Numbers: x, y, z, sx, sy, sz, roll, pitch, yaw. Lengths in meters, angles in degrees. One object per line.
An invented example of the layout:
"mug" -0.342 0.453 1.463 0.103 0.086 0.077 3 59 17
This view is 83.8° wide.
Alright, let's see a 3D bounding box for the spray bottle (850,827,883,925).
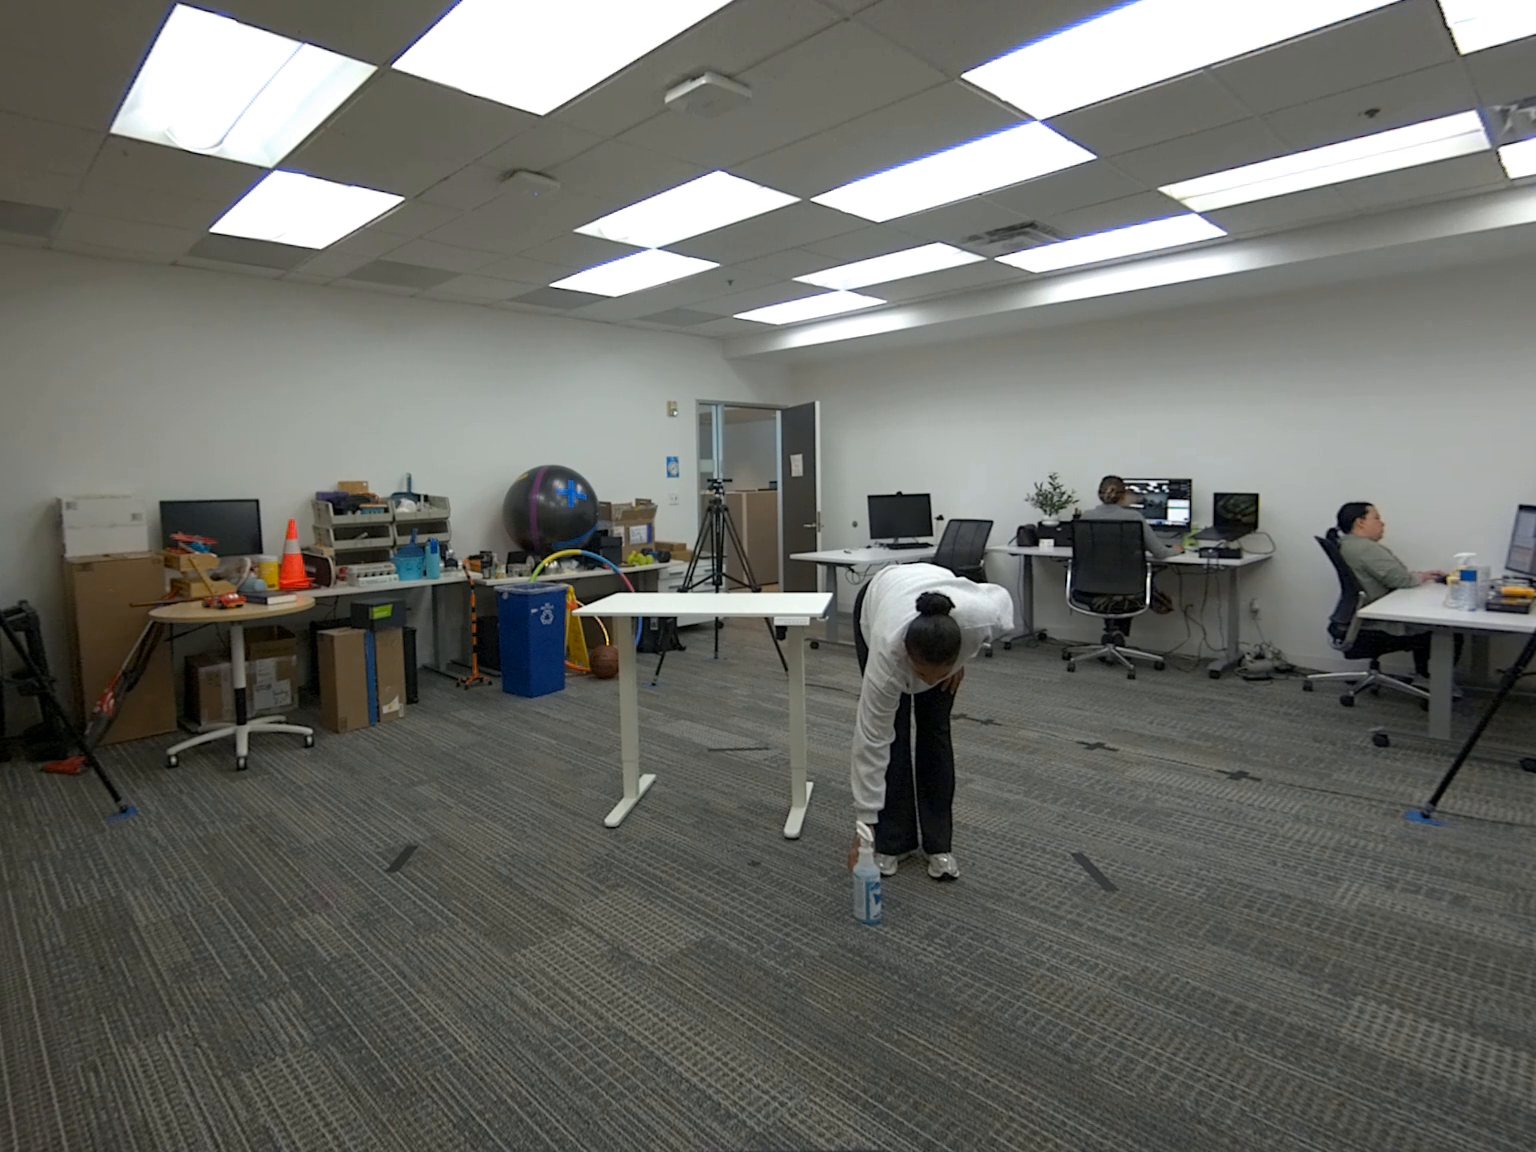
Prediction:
"spray bottle" 0.322 0.947 2.699 0.087 0.297 0.090 -1 2 4
